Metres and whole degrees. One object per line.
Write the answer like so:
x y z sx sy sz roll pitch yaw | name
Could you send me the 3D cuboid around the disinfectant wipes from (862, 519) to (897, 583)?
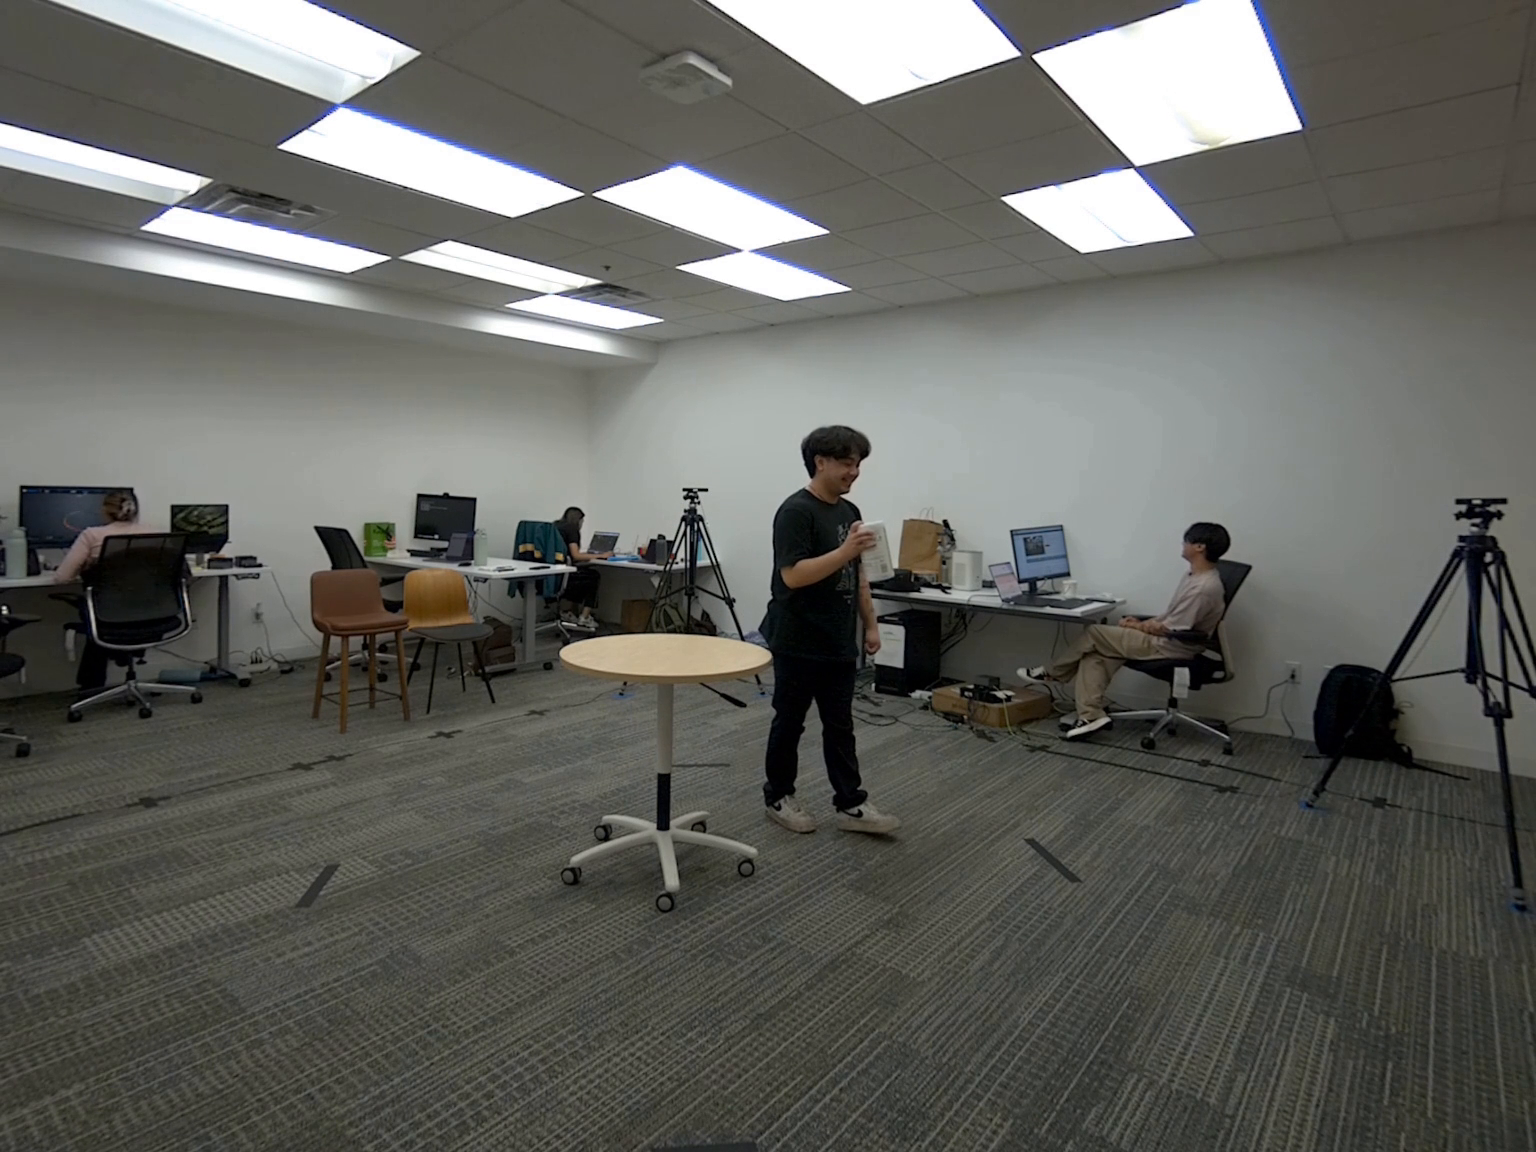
0.394 -0.097 3.134 0.118 0.217 0.118 -8 3 -1 | disinfectant wipes
